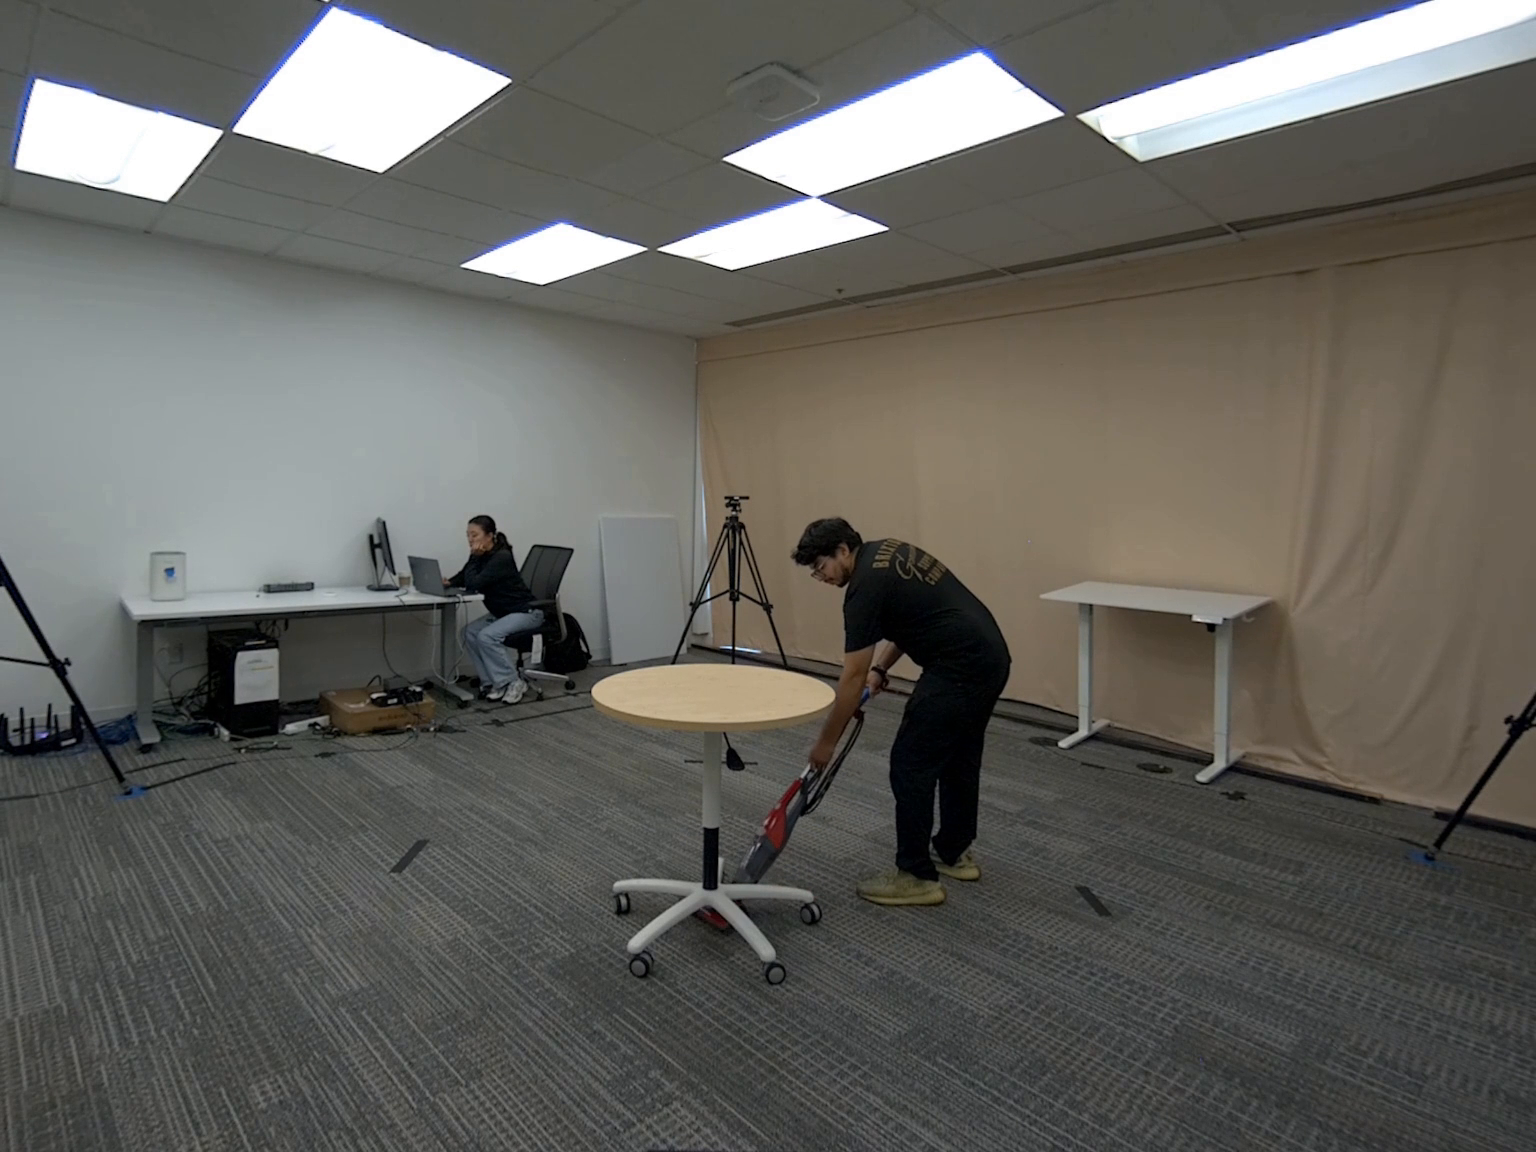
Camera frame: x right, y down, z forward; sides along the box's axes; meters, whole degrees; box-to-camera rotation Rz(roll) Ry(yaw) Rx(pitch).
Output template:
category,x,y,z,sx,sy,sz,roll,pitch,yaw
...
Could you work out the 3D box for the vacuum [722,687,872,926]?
category,x,y,z,sx,sy,sz,roll,pitch,yaw
vacuum,0.151,0.749,2.994,1.048,0.142,0.257,-46,18,-23
